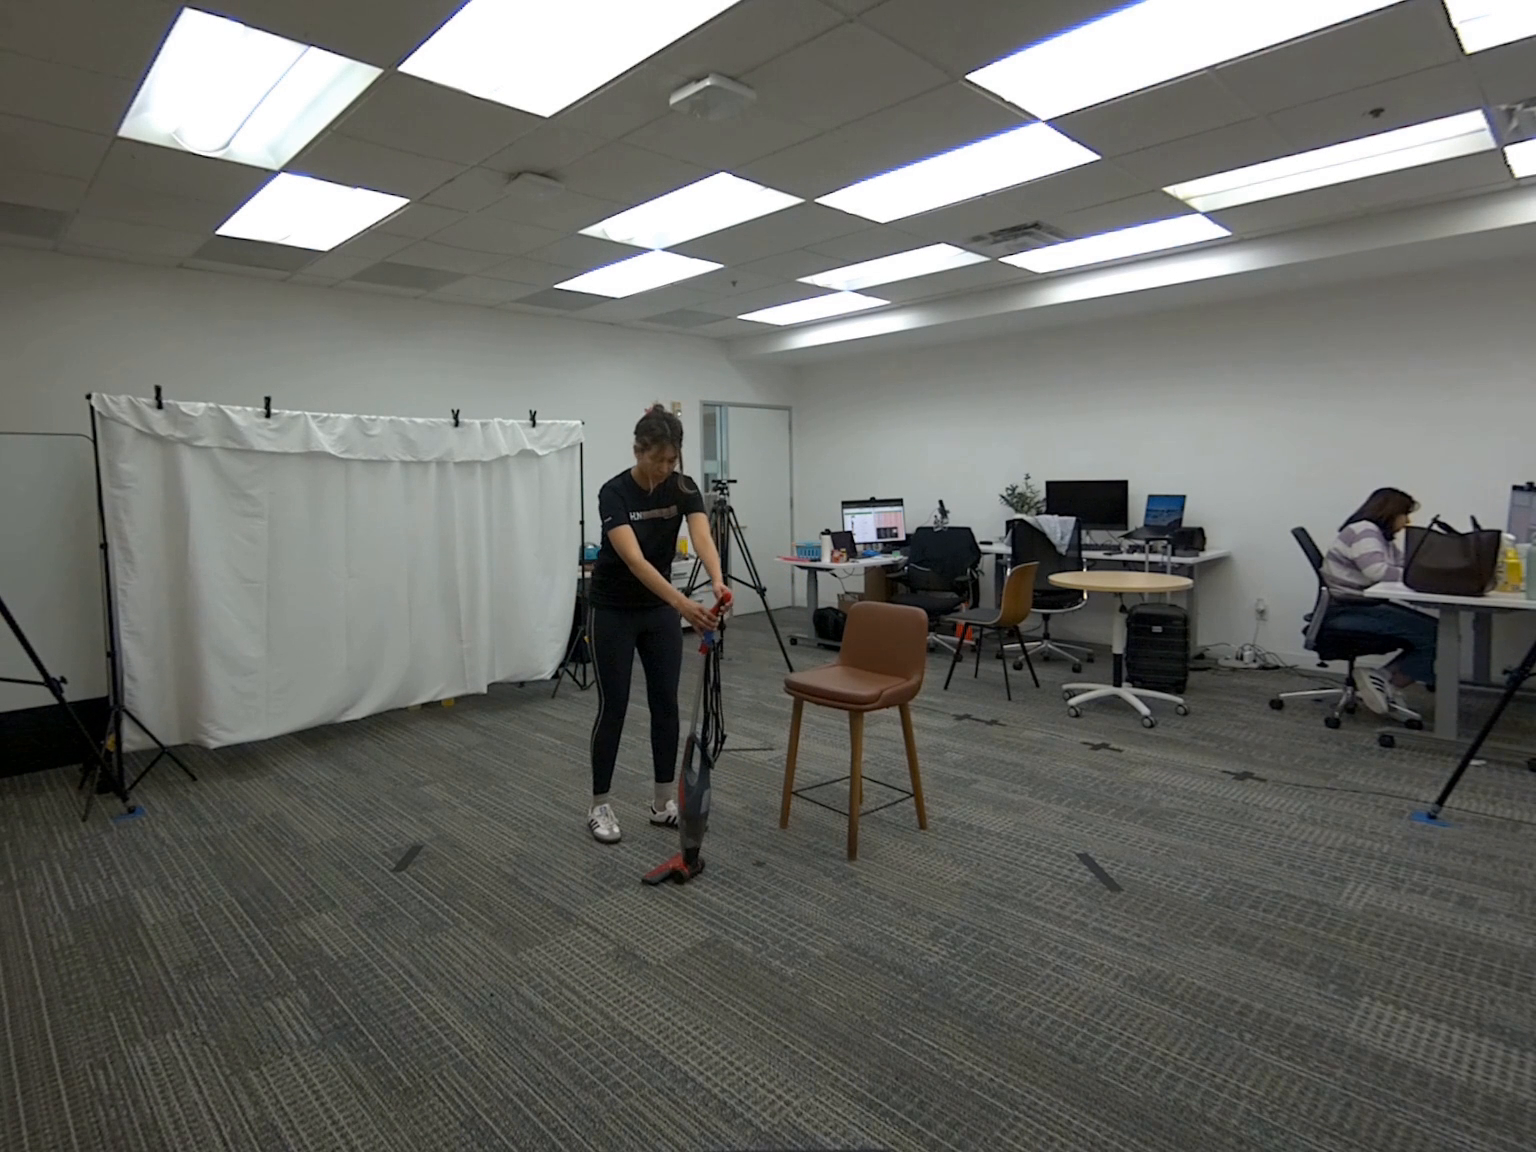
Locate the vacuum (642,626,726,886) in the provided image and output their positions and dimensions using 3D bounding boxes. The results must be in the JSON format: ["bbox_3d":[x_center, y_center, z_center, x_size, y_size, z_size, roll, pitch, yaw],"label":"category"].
[{"bbox_3d":[-0.220,0.565,2.935,0.148,1.041,0.247,18,13,30],"label":"vacuum"}]
